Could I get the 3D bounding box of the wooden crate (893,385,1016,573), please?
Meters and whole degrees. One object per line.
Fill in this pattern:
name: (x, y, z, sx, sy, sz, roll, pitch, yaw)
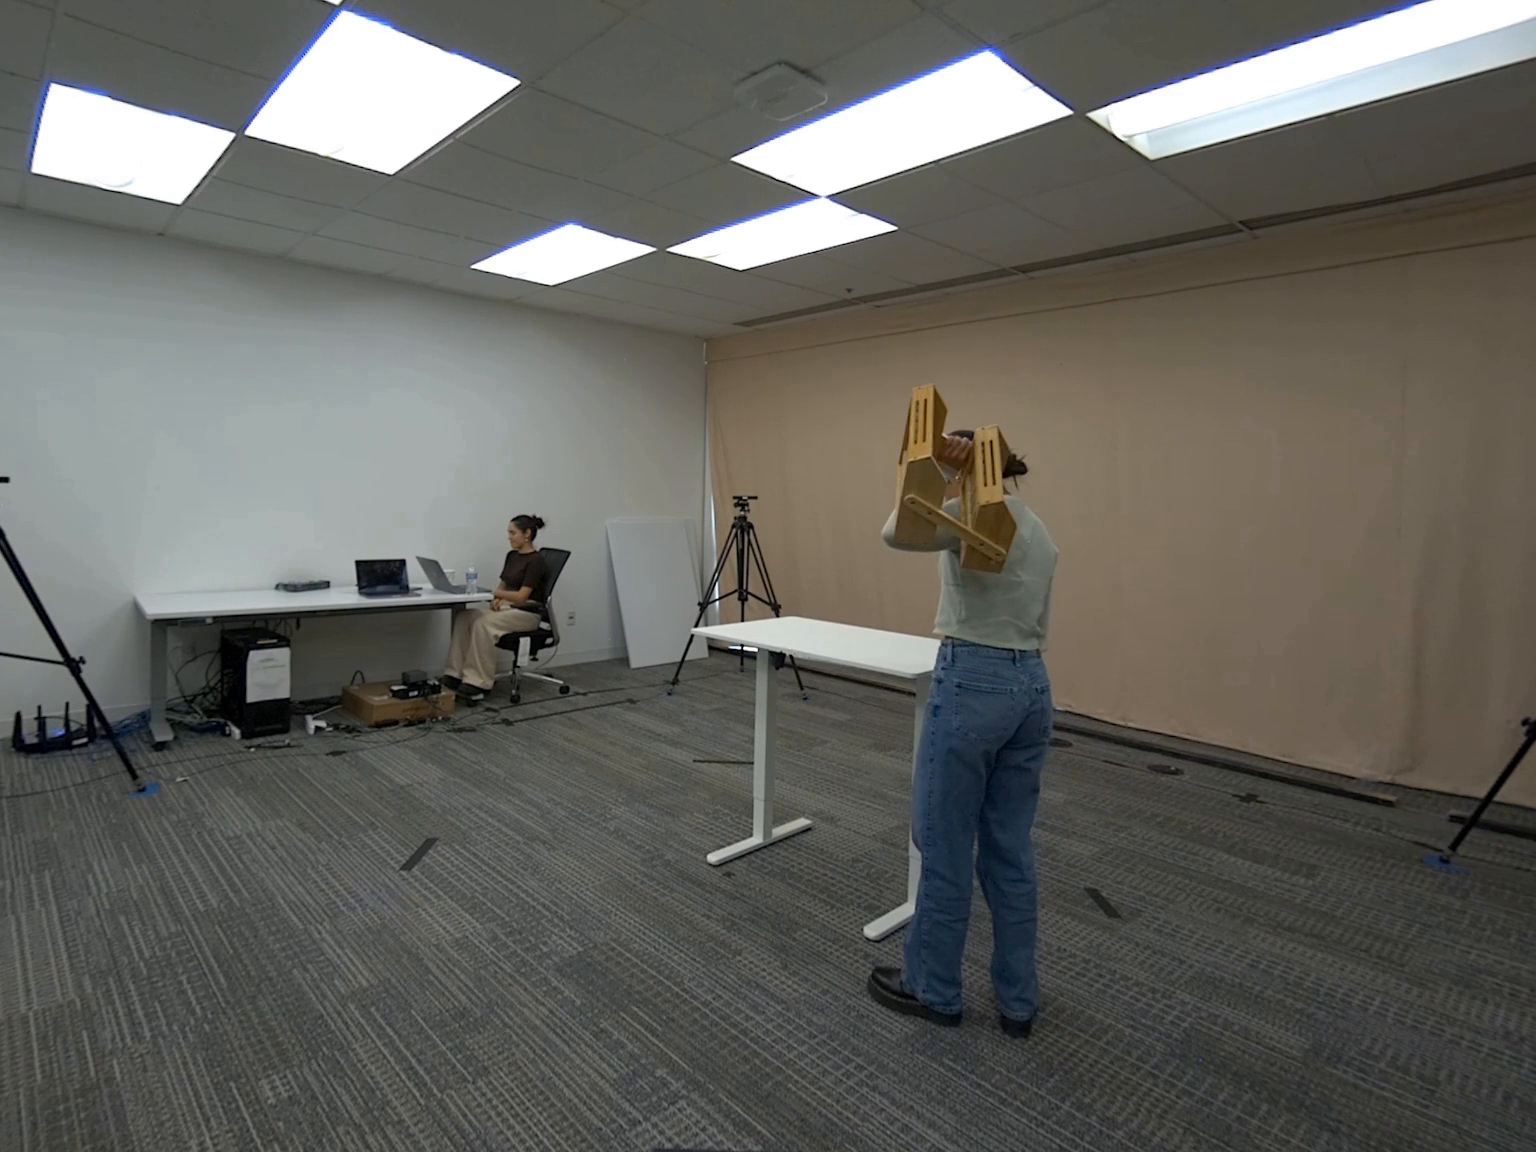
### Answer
wooden crate: (0.449, -0.232, 1.971, 0.275, 0.296, 0.329, 9, 44, 6)
